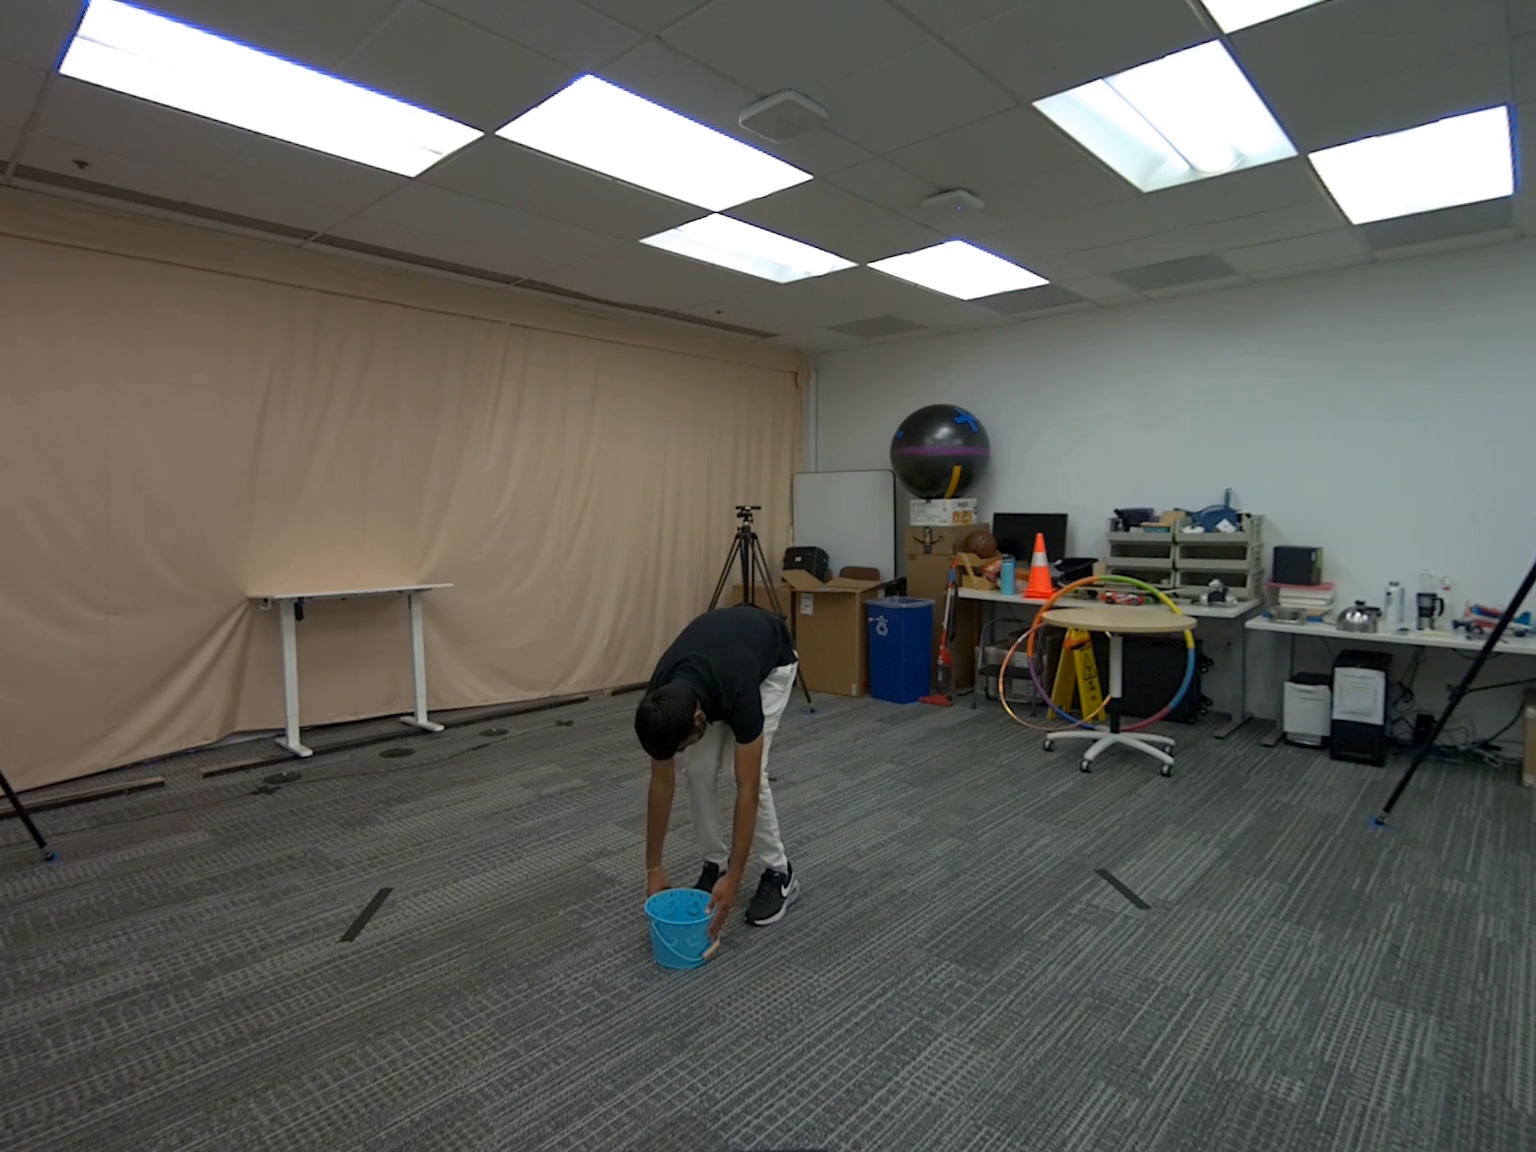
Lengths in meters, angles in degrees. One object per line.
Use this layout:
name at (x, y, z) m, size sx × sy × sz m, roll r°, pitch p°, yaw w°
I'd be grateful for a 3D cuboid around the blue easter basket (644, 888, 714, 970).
blue easter basket at (-0.264, 1.083, 2.614) m, size 0.243 × 0.155 × 0.244 m, roll 0°, pitch 4°, yaw -2°
